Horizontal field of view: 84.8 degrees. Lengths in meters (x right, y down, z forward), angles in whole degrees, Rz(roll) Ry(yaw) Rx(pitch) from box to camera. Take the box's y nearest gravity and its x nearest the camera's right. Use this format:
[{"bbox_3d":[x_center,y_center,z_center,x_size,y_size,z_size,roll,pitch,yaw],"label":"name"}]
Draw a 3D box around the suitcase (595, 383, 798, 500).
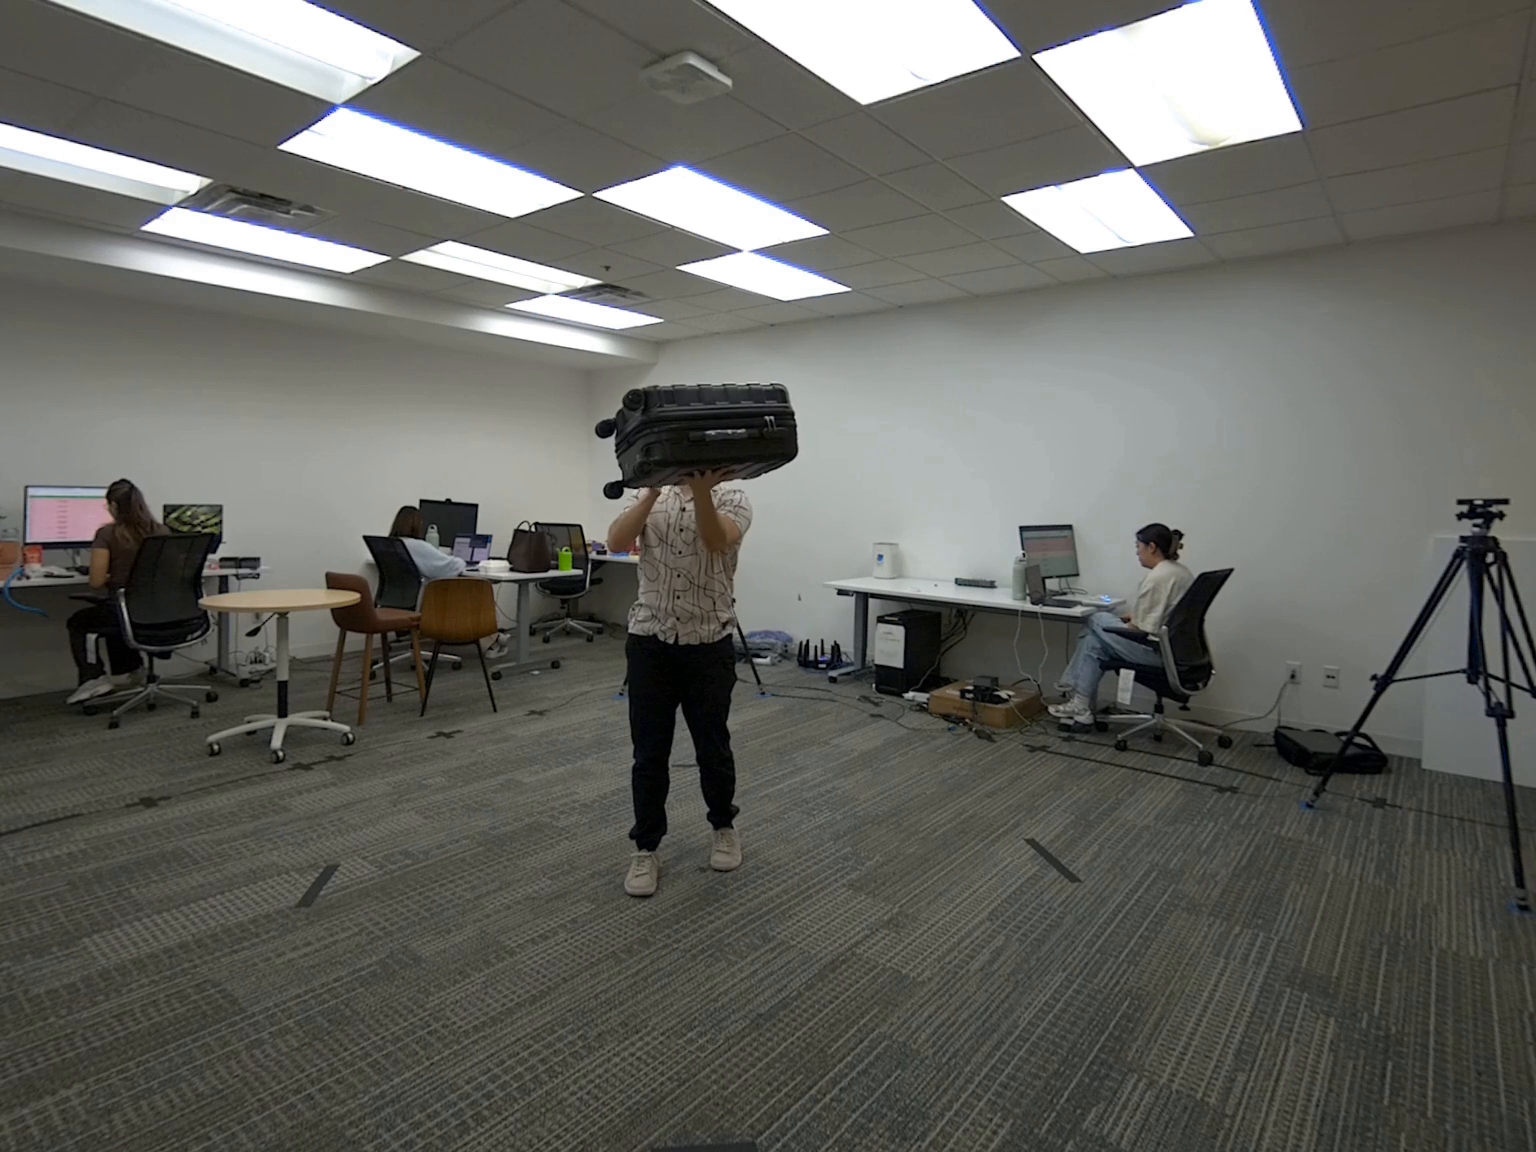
[{"bbox_3d":[-0.218,-0.423,2.587,0.538,0.250,0.381,-9,-4,-26],"label":"suitcase"}]
